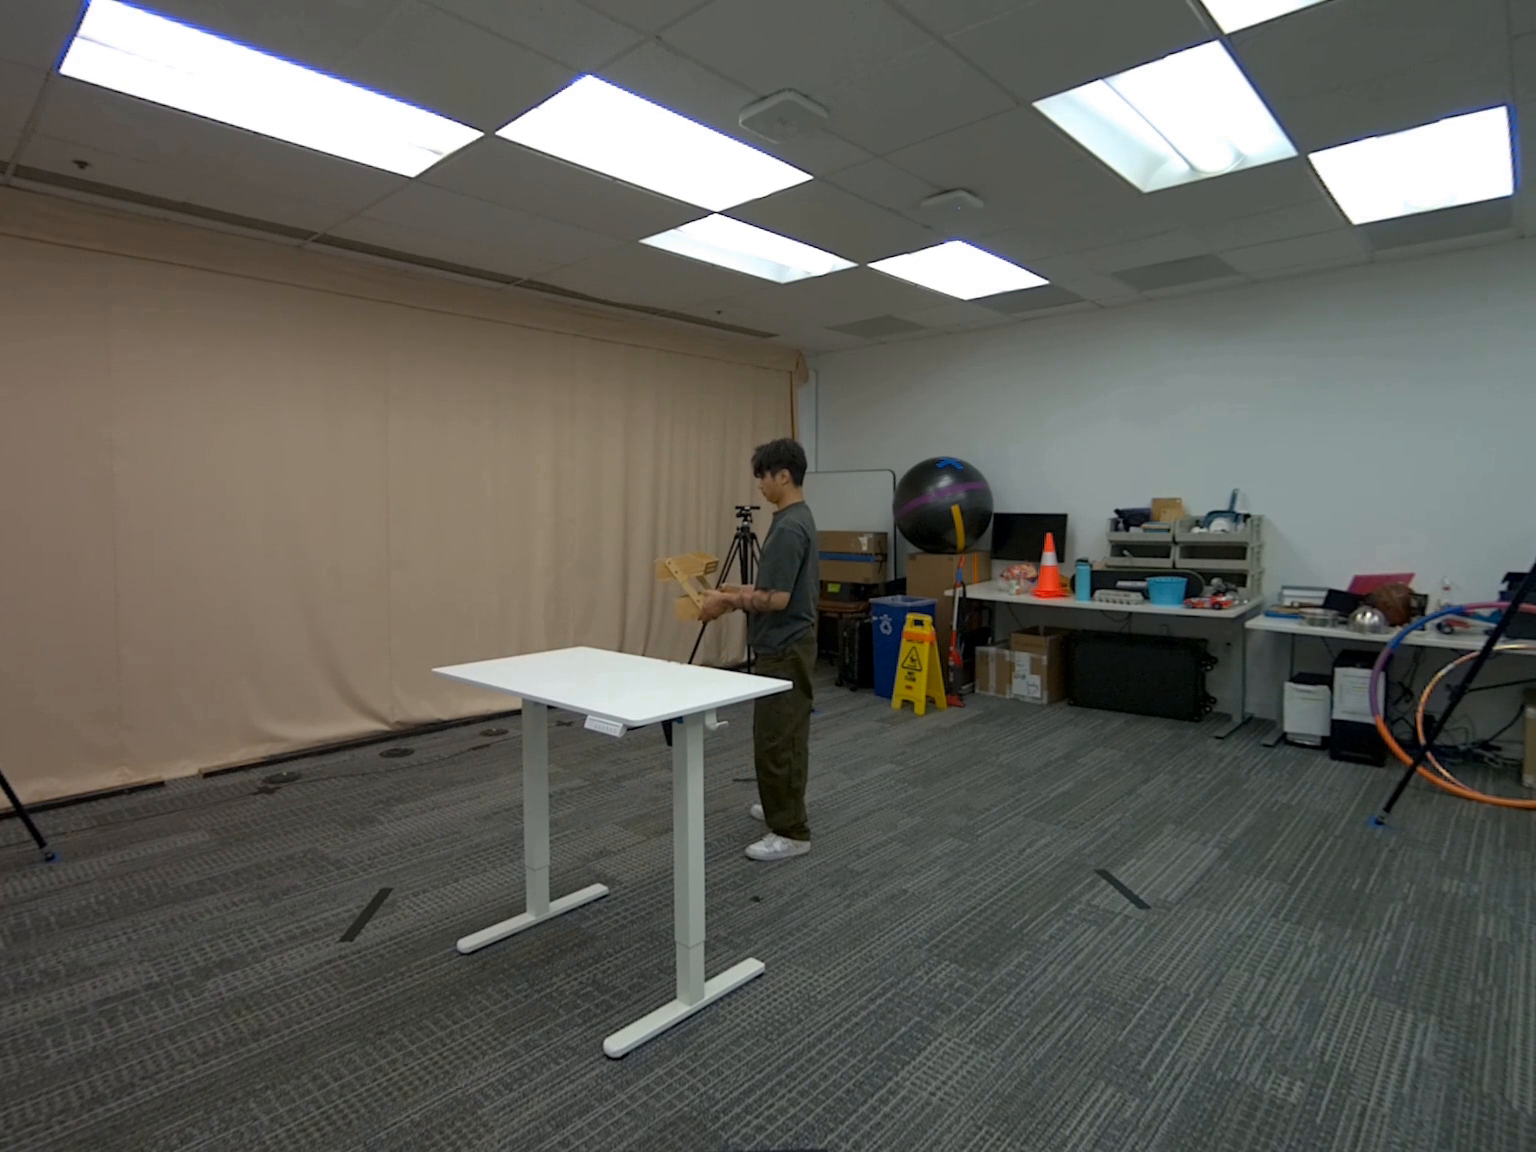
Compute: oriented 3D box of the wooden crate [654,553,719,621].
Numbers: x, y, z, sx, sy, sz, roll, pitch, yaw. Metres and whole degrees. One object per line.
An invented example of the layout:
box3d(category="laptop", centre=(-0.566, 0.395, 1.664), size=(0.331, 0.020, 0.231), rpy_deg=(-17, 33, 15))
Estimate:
box3d(category="wooden crate", centre=(-0.273, 0.030, 3.558), size=(0.305, 0.273, 0.321), rpy_deg=(-9, 1, 9))
